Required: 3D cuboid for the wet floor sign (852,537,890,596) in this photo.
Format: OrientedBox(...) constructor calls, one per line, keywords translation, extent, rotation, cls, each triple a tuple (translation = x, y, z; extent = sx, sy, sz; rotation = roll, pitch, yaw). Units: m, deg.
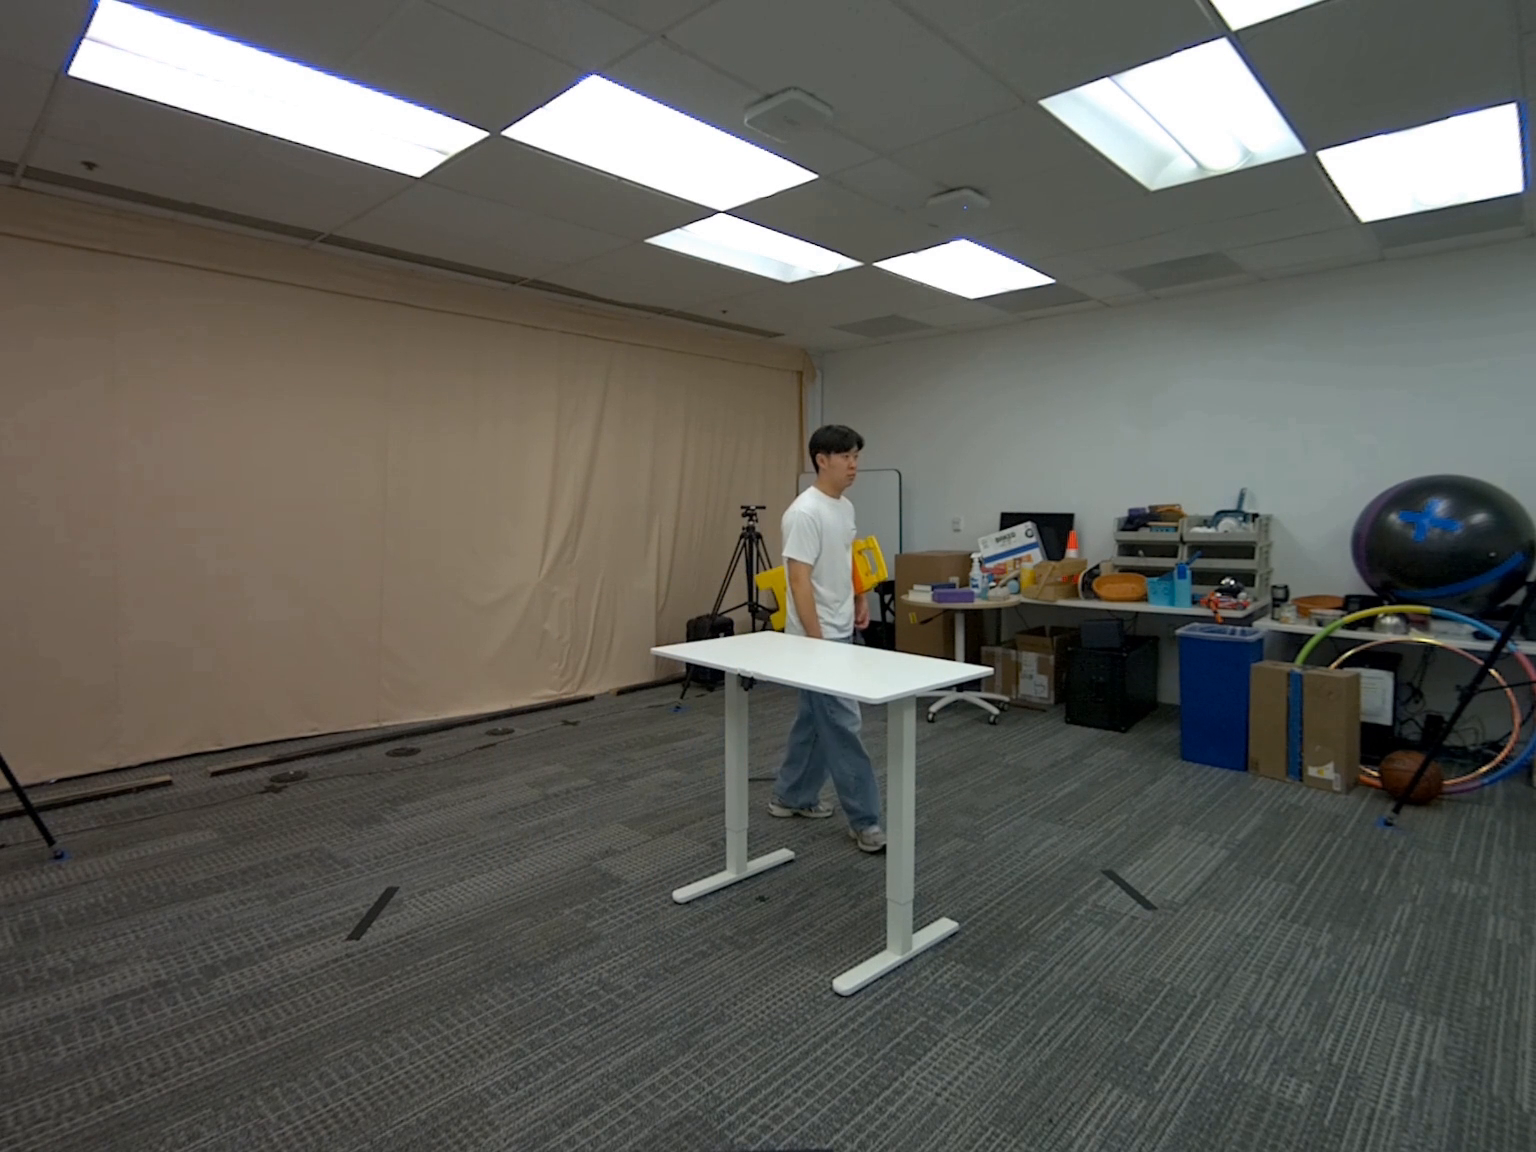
OrientedBox(translation=(0.249, 0.023, 3.807), extent=(0.659, 0.284, 0.282), rotation=(-24, -9, 35), cls="wet floor sign")
